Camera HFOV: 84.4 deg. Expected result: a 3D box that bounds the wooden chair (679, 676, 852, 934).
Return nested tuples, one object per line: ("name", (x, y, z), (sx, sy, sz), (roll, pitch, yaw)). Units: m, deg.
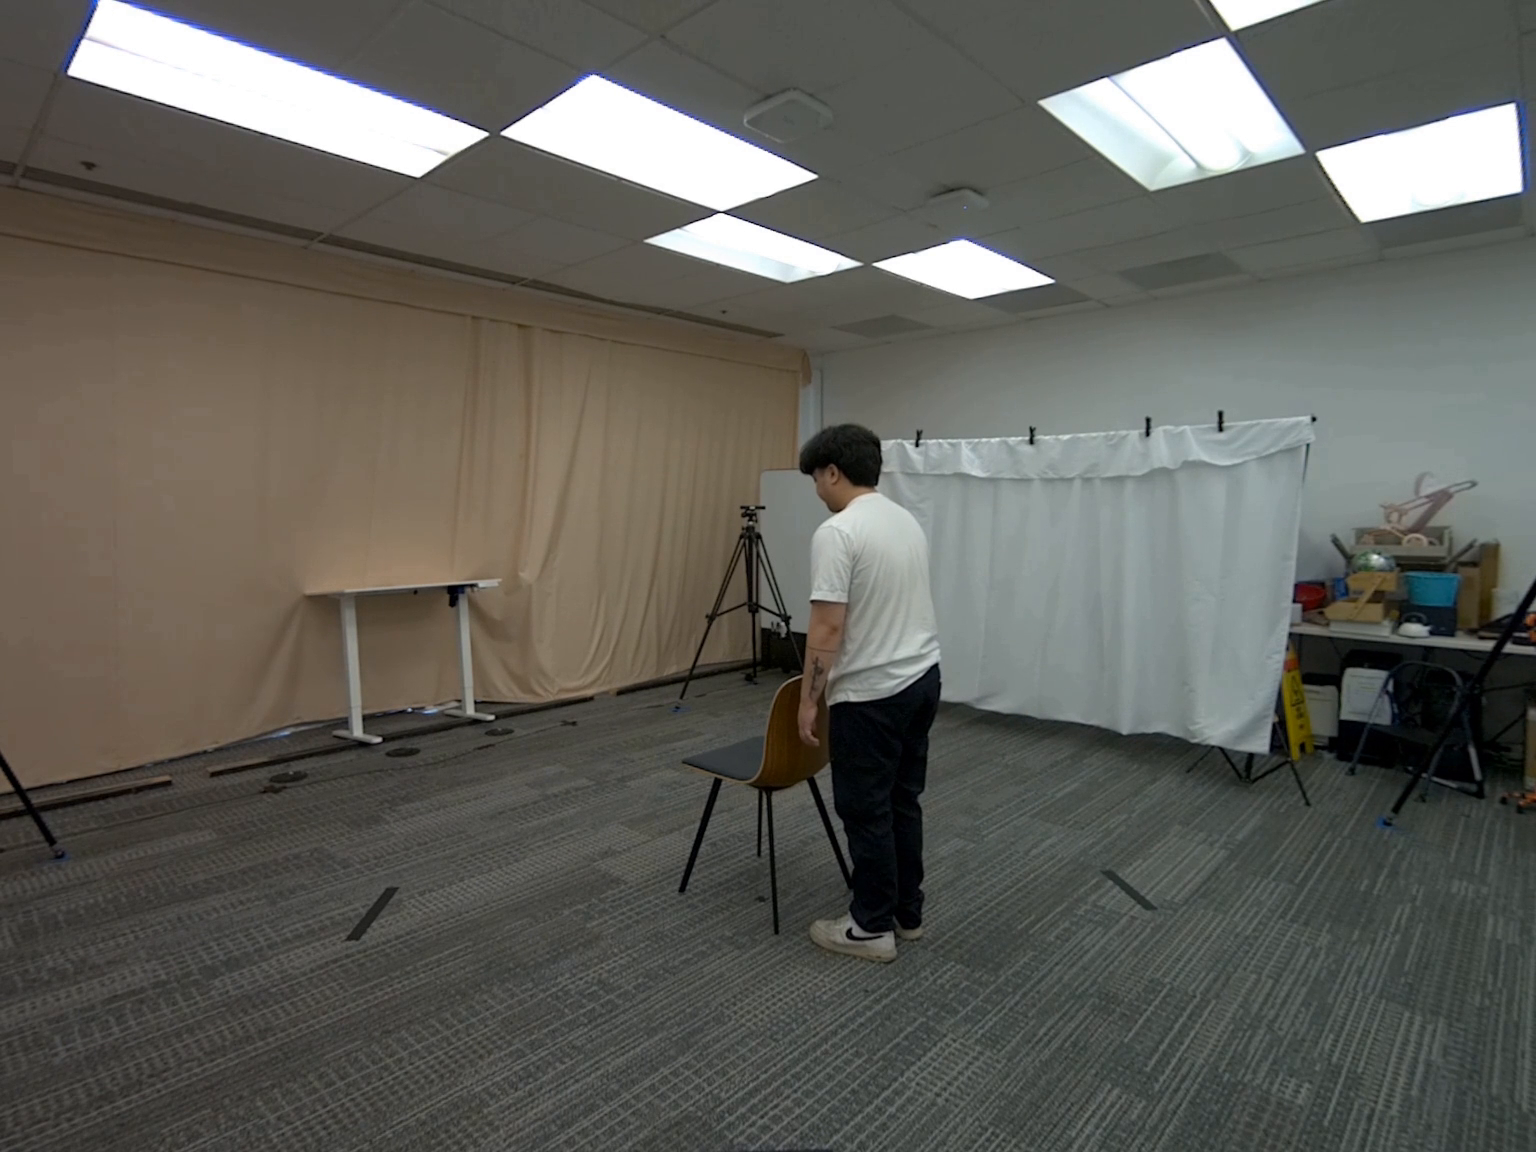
("wooden chair", (-0.013, 0.713, 3.023), (0.541, 0.874, 0.463), (8, 8, 41))
